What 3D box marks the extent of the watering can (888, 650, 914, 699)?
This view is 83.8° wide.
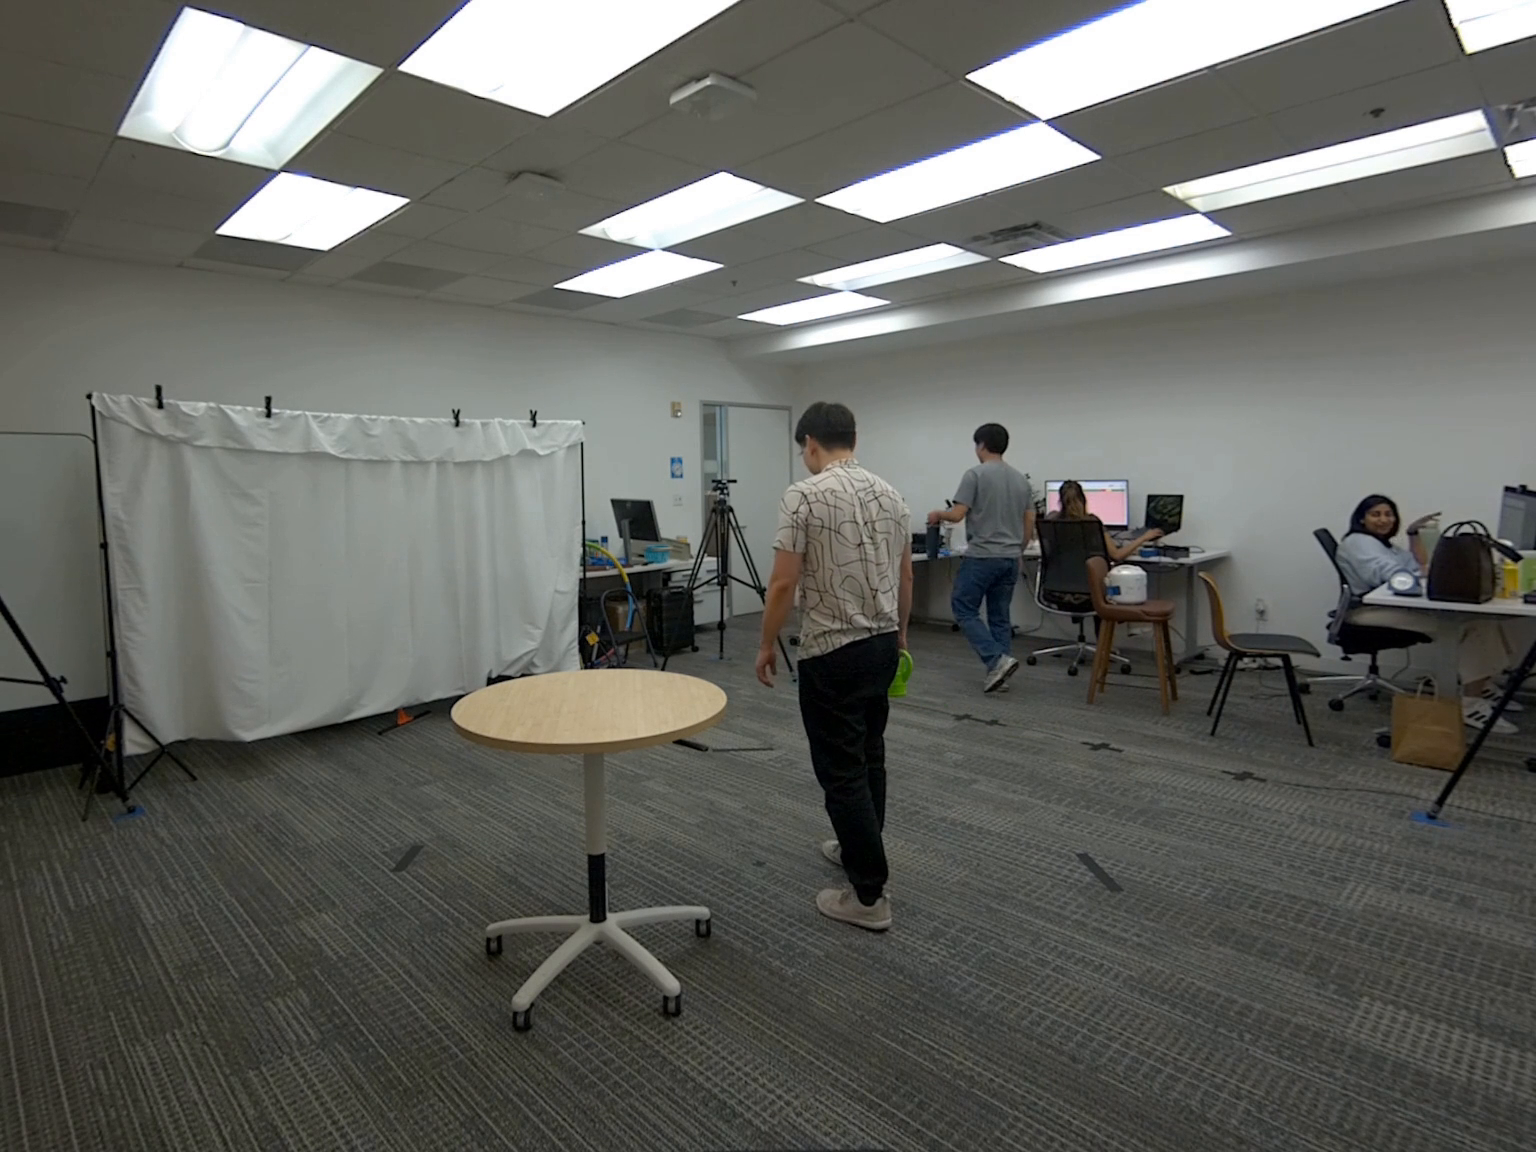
[{"bbox_3d":[0.413,0.347,3.121,0.095,0.177,0.286,-1,0,-42],"label":"watering can"}]
